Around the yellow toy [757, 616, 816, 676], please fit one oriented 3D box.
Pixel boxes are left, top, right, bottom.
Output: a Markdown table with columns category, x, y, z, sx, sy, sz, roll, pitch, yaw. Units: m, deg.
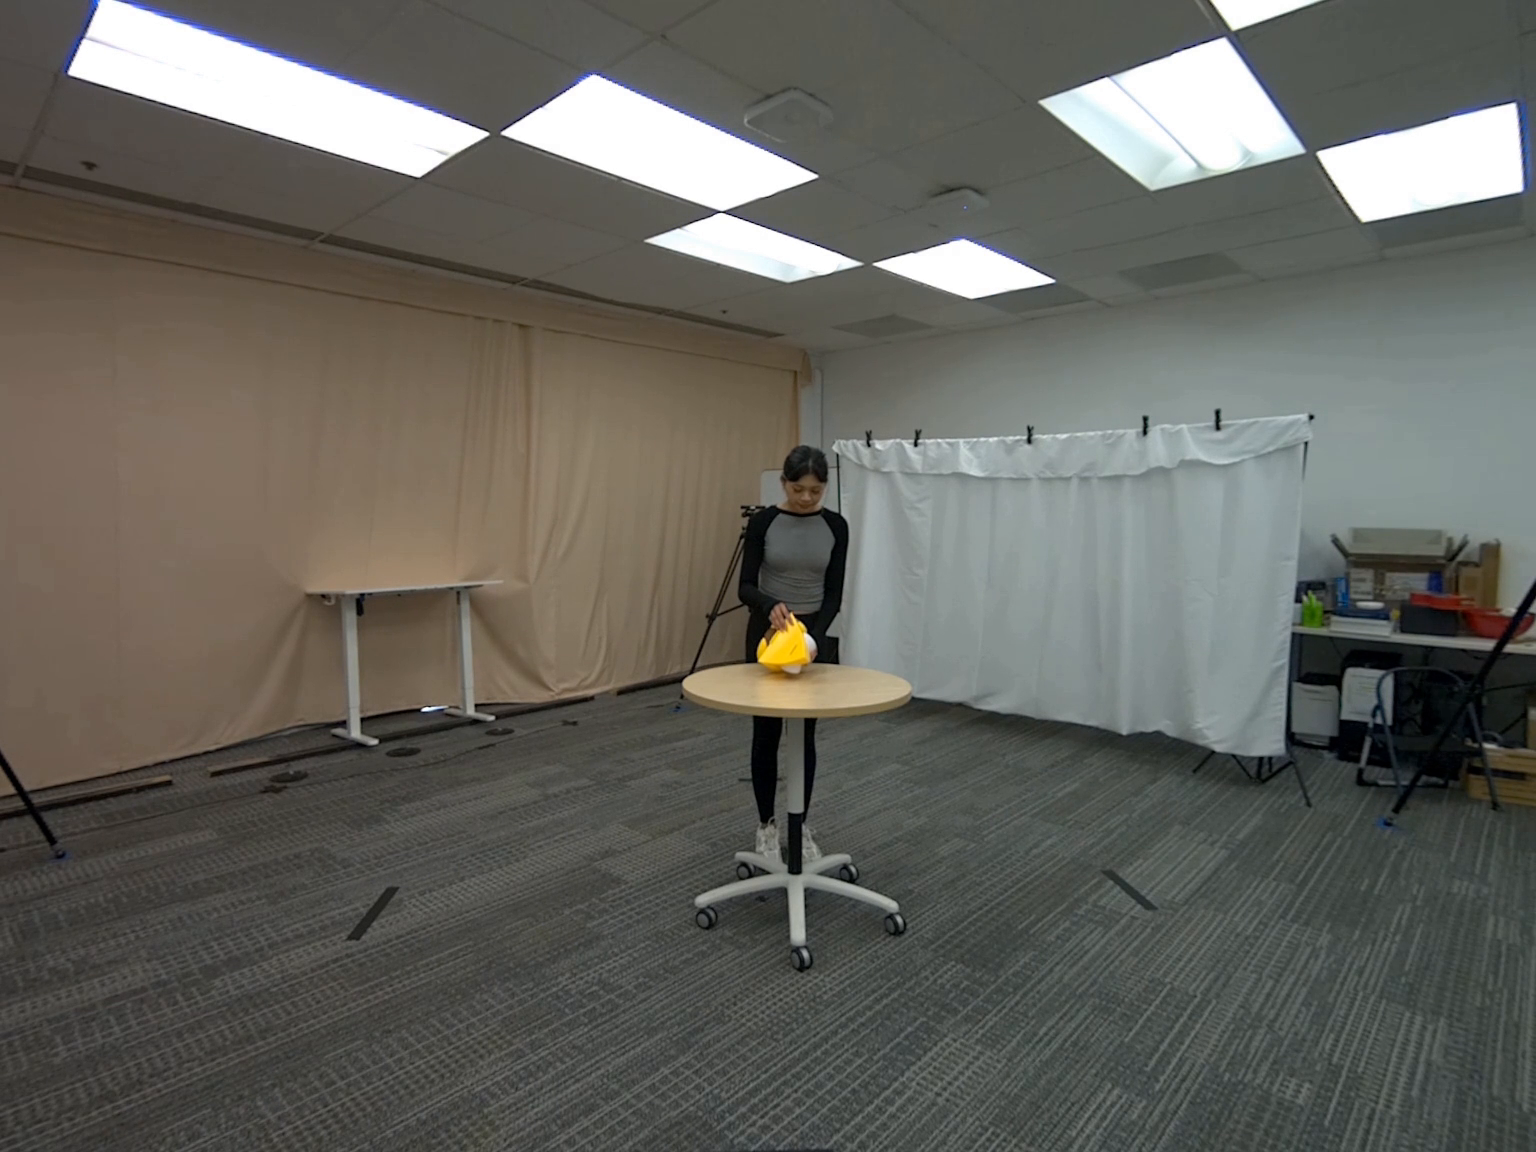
| category | x | y | z | sx | sy | sz | roll | pitch | yaw |
| --- | --- | --- | --- | --- | --- | --- | --- | --- | --- |
| yellow toy | 0.096 | 0.267 | 2.940 | 0.186 | 0.205 | 0.238 | 37 | -4 | -34 |
